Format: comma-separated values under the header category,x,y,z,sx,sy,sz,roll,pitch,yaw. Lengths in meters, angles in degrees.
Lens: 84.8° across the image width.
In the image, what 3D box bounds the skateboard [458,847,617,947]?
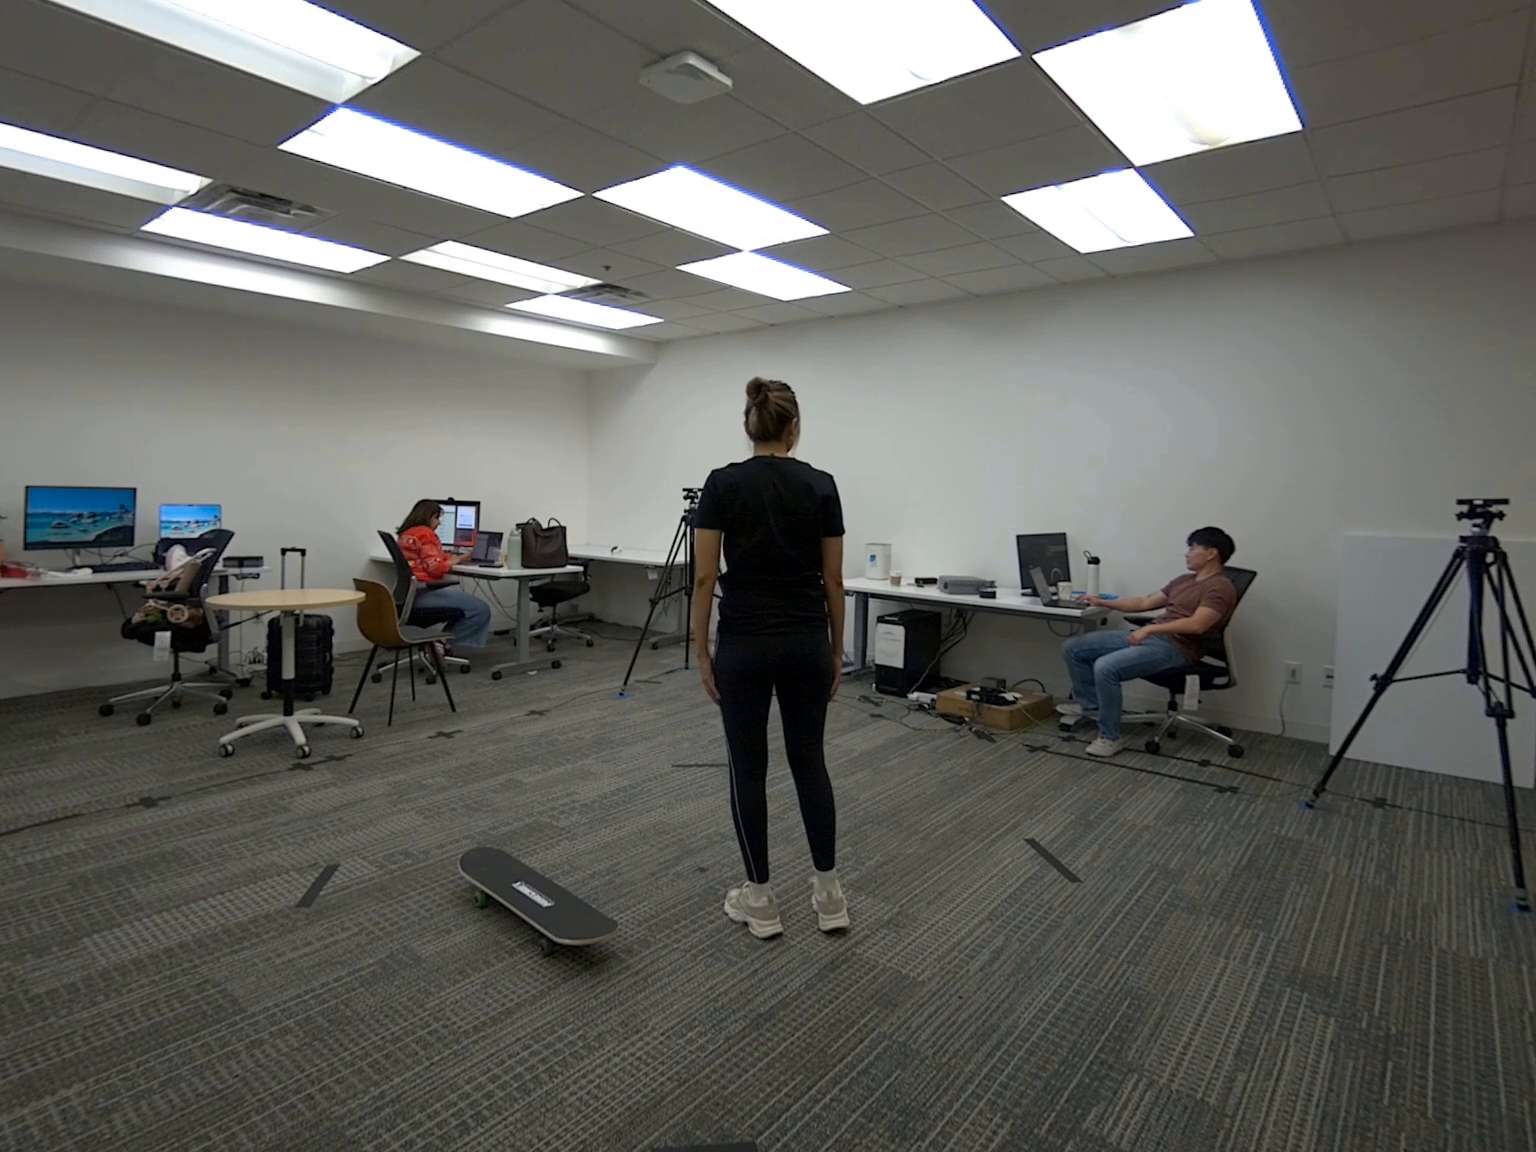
category,x,y,z,sx,sy,sz,roll,pitch,yaw
skateboard,-0.758,1.041,2.711,0.812,0.110,0.187,6,6,44
